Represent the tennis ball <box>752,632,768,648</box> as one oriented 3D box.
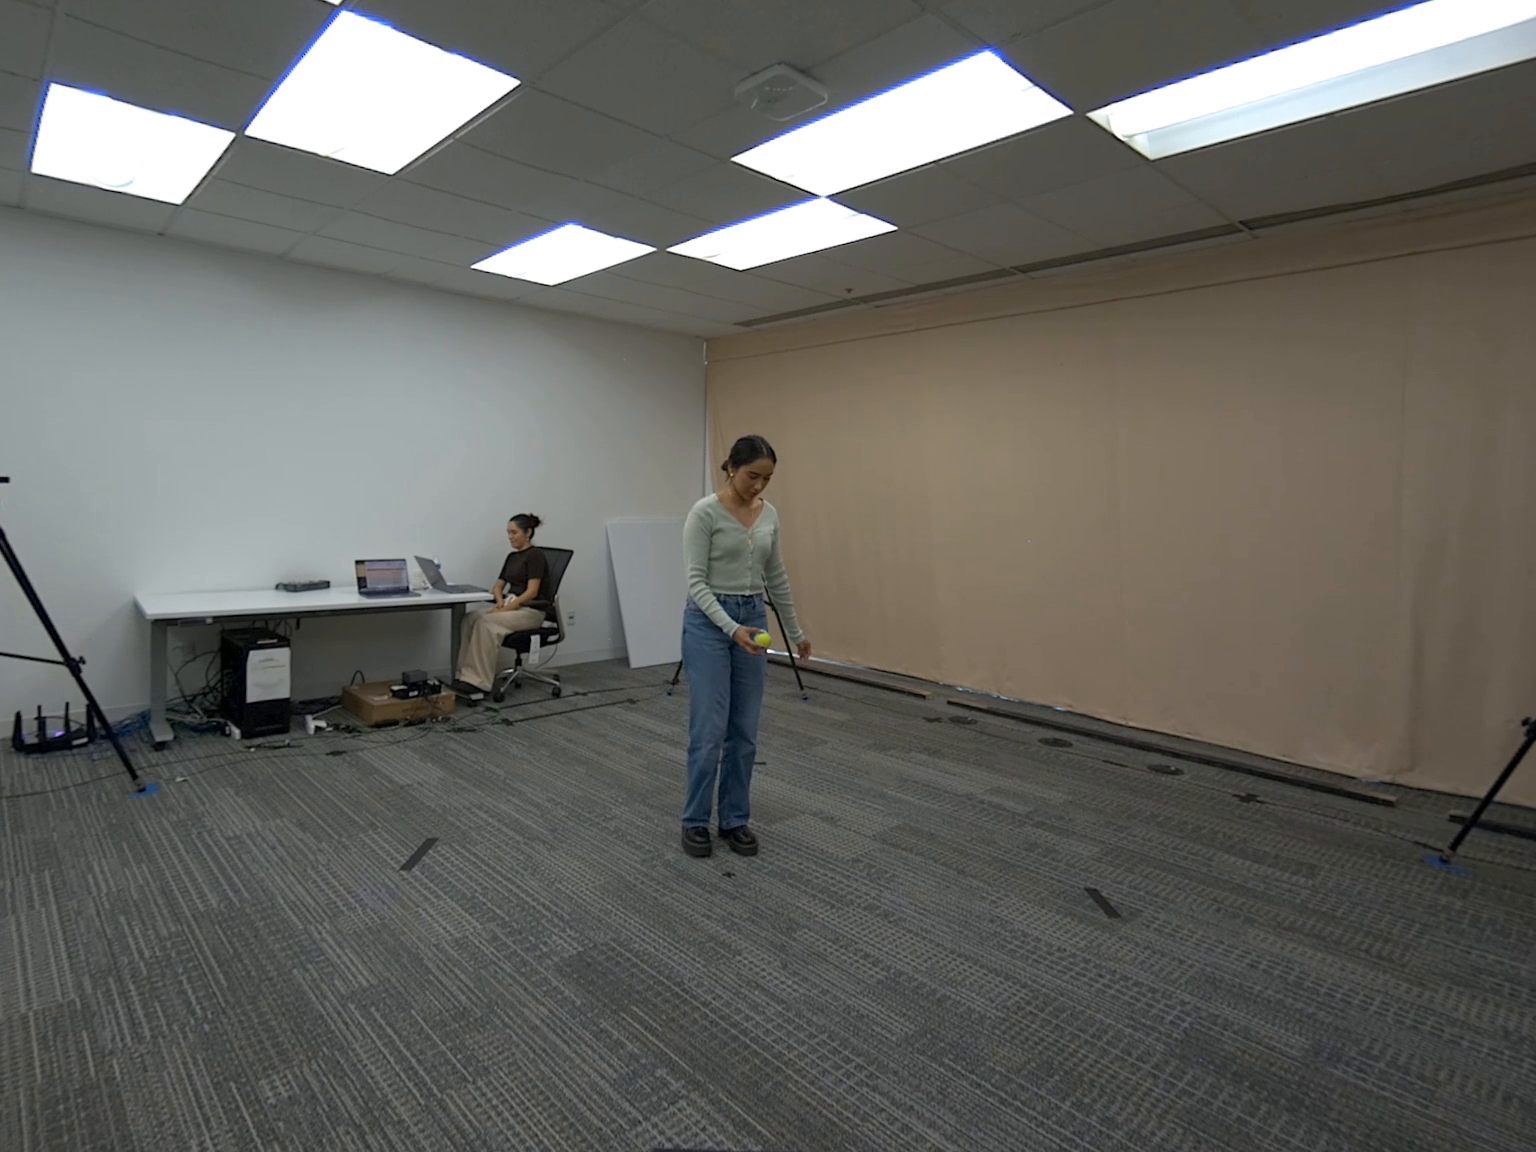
[{"bbox_3d":[-0.067,0.236,3.144,0.066,0.066,0.067,1,4,-1],"label":"tennis ball"}]
